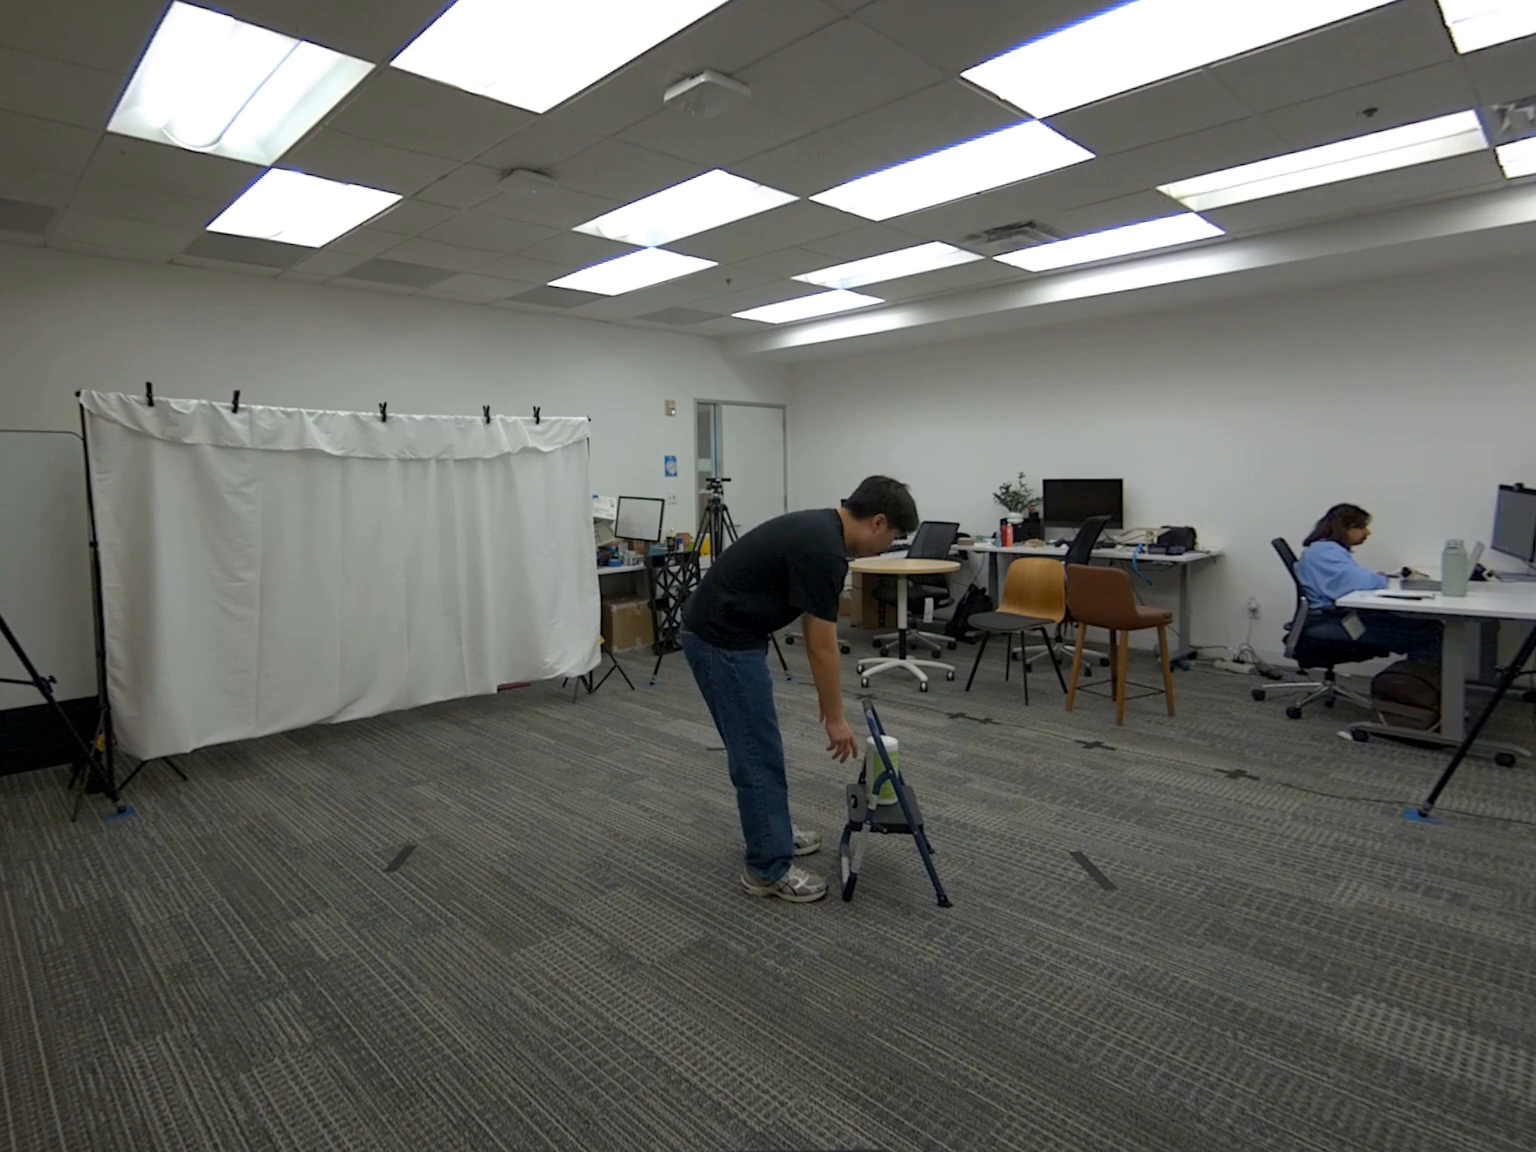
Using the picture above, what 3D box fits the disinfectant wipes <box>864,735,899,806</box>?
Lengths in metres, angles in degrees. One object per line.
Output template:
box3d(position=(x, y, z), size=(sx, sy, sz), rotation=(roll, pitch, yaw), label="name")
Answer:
box3d(position=(0.395, 0.675, 2.992), size=(0.117, 0.216, 0.118), rotation=(2, 6, -2), label="disinfectant wipes")
